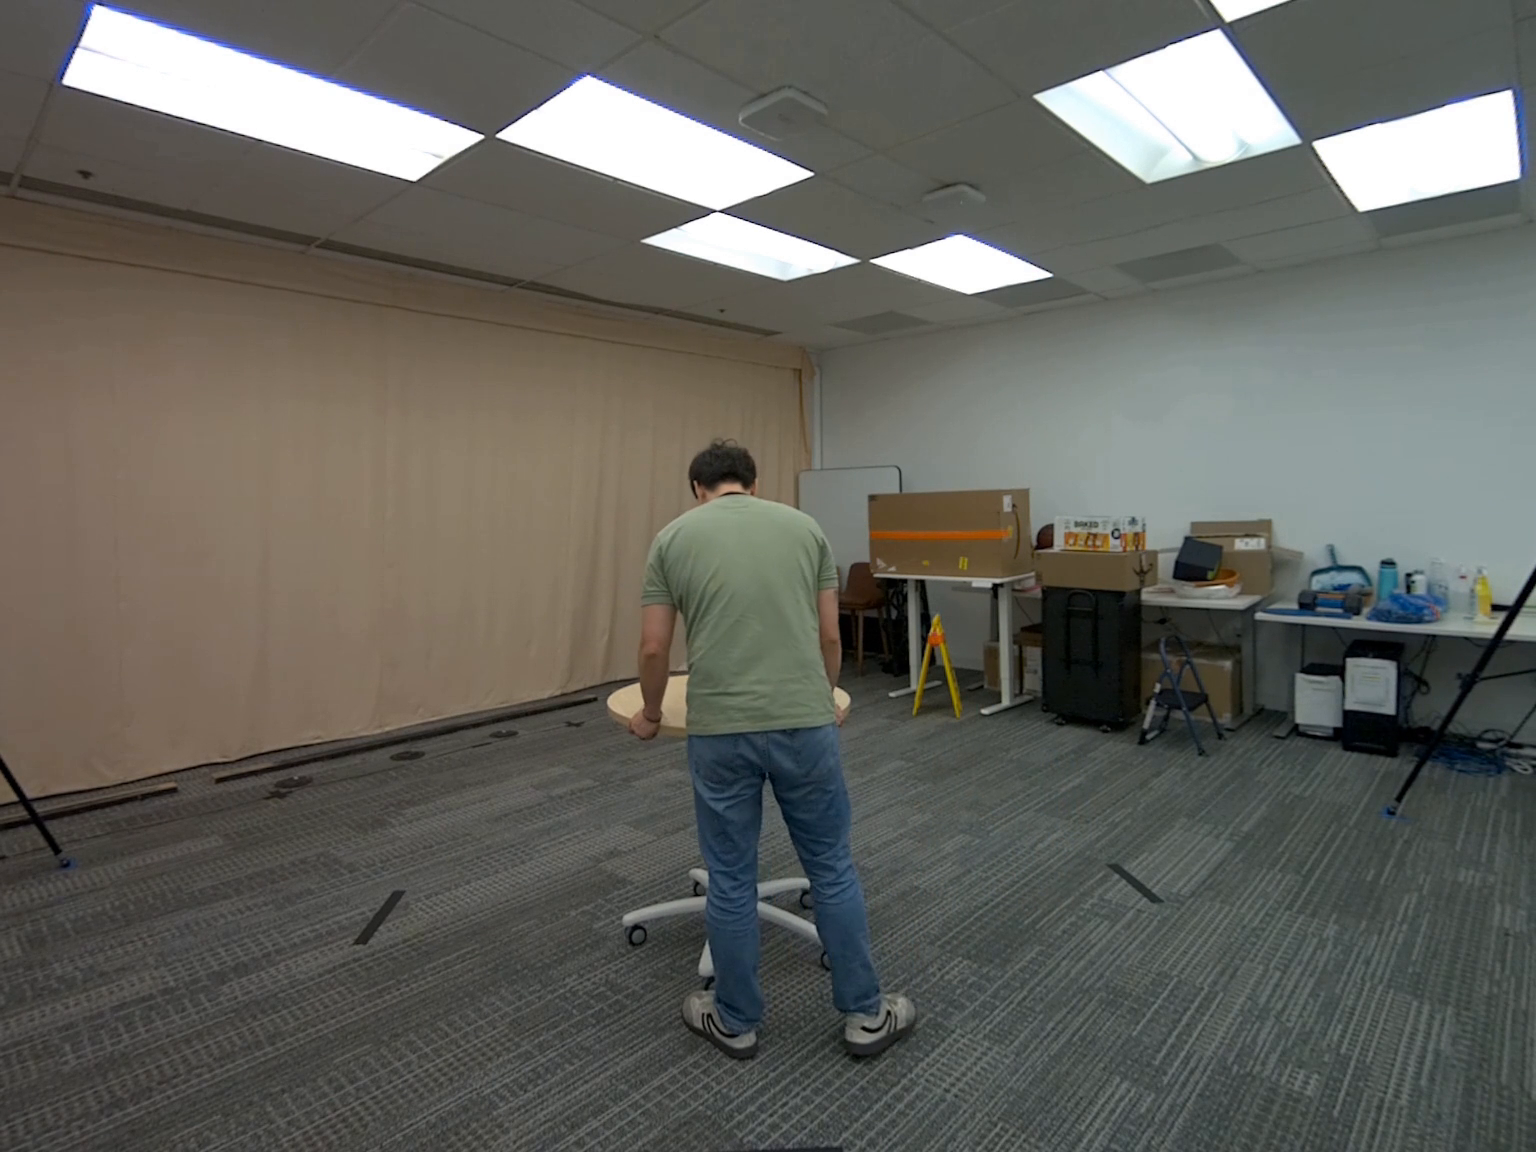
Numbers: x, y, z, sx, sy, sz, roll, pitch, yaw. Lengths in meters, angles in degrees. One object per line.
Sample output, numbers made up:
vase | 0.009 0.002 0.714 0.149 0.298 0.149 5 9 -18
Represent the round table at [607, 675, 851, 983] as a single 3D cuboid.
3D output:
round table | -0.114 0.777 2.696 0.763 0.792 0.767 -1 4 -2
